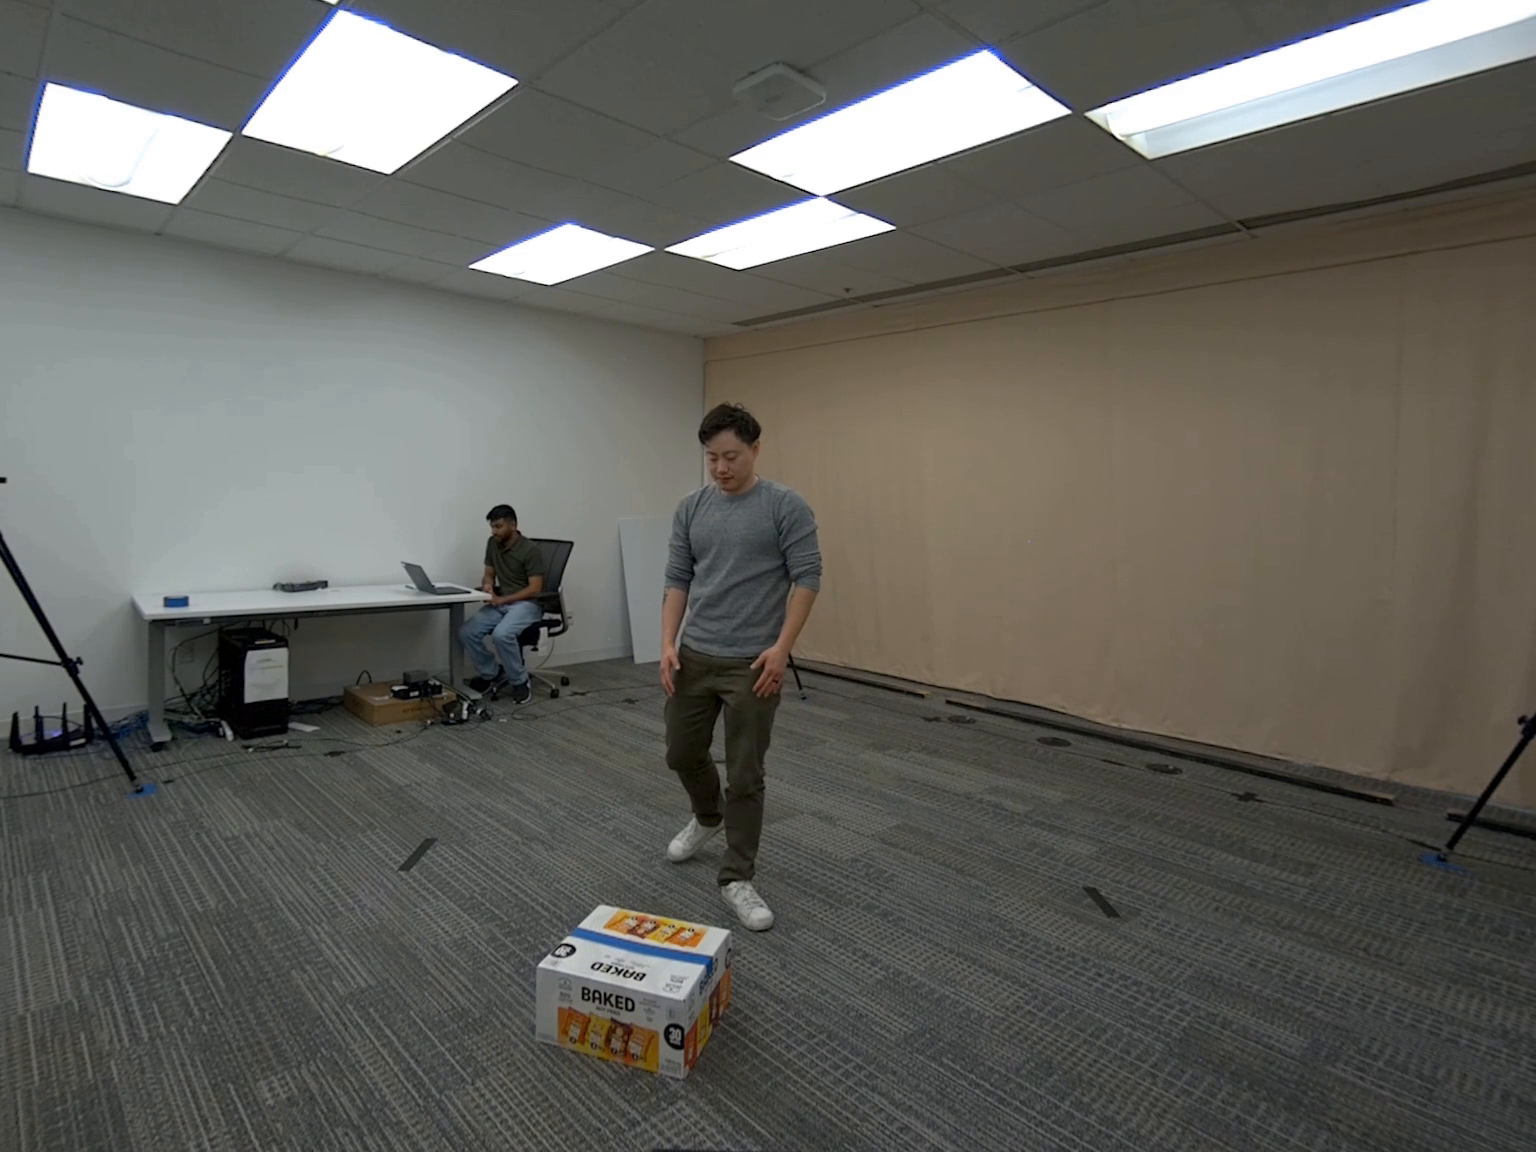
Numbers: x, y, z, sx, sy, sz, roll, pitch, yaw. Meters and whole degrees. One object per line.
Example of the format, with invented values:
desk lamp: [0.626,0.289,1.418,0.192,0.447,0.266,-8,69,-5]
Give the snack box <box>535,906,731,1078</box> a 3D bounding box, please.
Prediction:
snack box: [-0.351,1.073,2.222,0.411,0.205,0.336,3,5,17]
